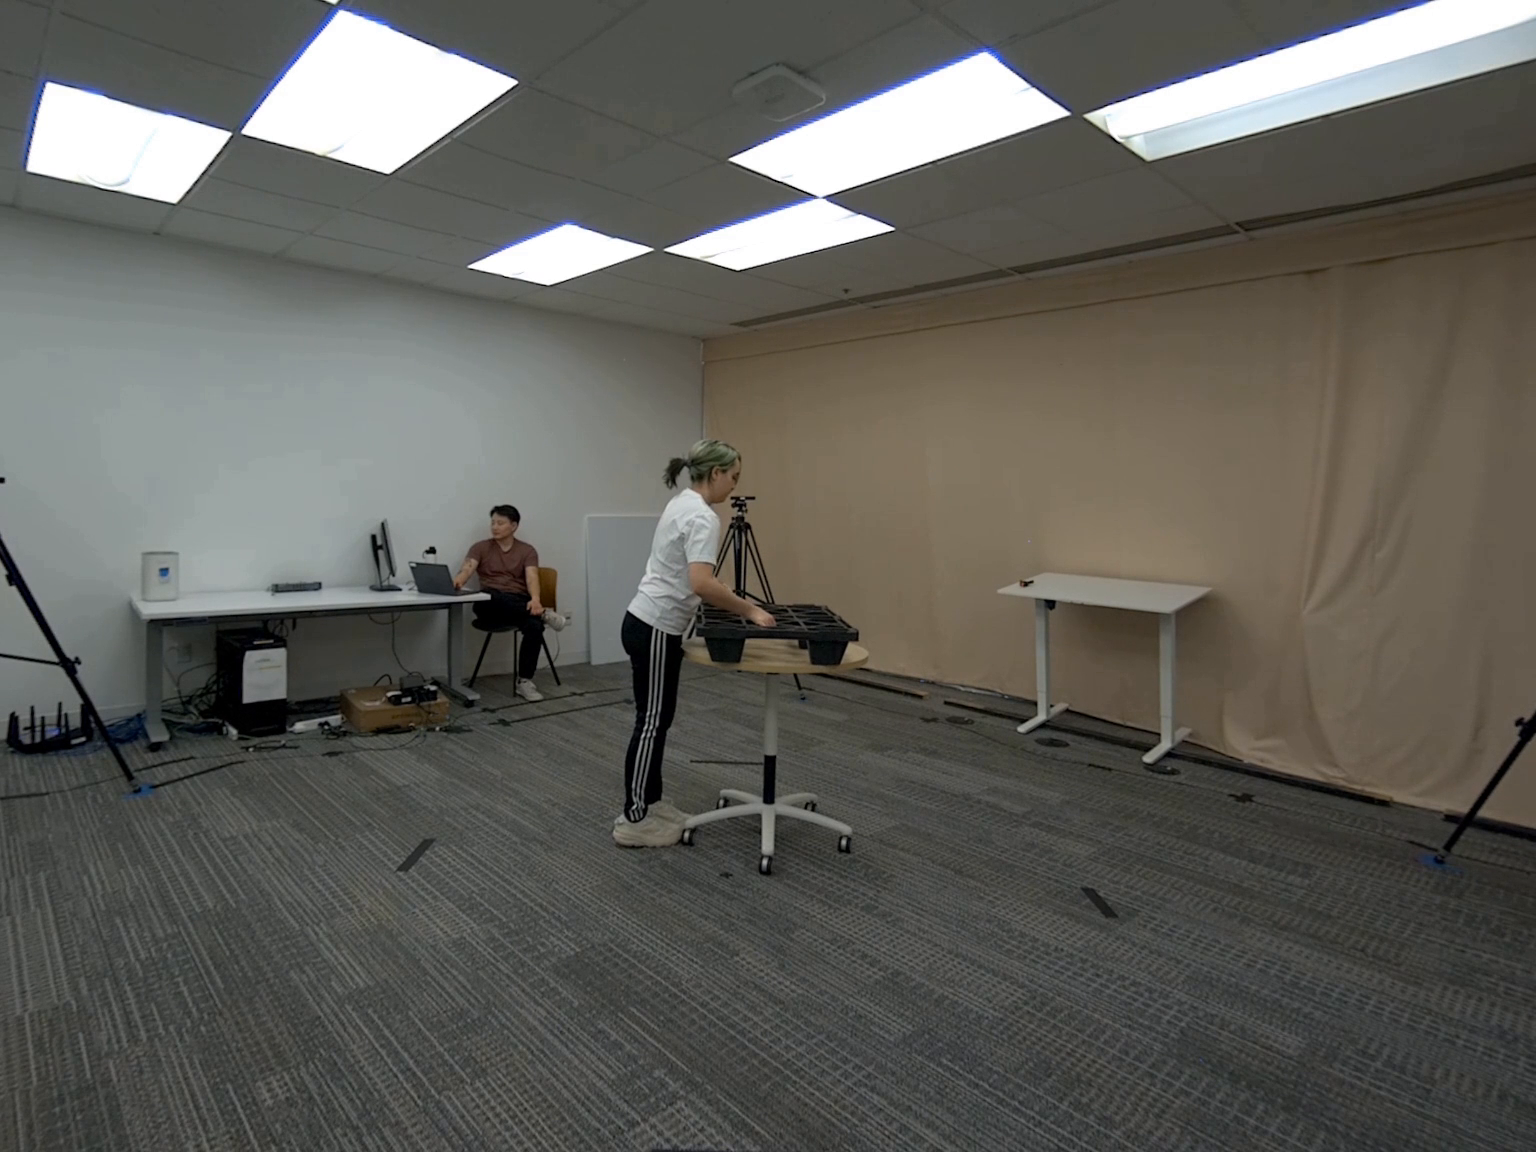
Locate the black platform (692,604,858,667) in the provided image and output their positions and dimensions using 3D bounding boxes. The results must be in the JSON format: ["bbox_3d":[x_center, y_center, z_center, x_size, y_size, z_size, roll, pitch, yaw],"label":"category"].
[{"bbox_3d":[-0.008,0.224,3.441,0.603,0.143,0.810,1,5,-4],"label":"black platform"}]
